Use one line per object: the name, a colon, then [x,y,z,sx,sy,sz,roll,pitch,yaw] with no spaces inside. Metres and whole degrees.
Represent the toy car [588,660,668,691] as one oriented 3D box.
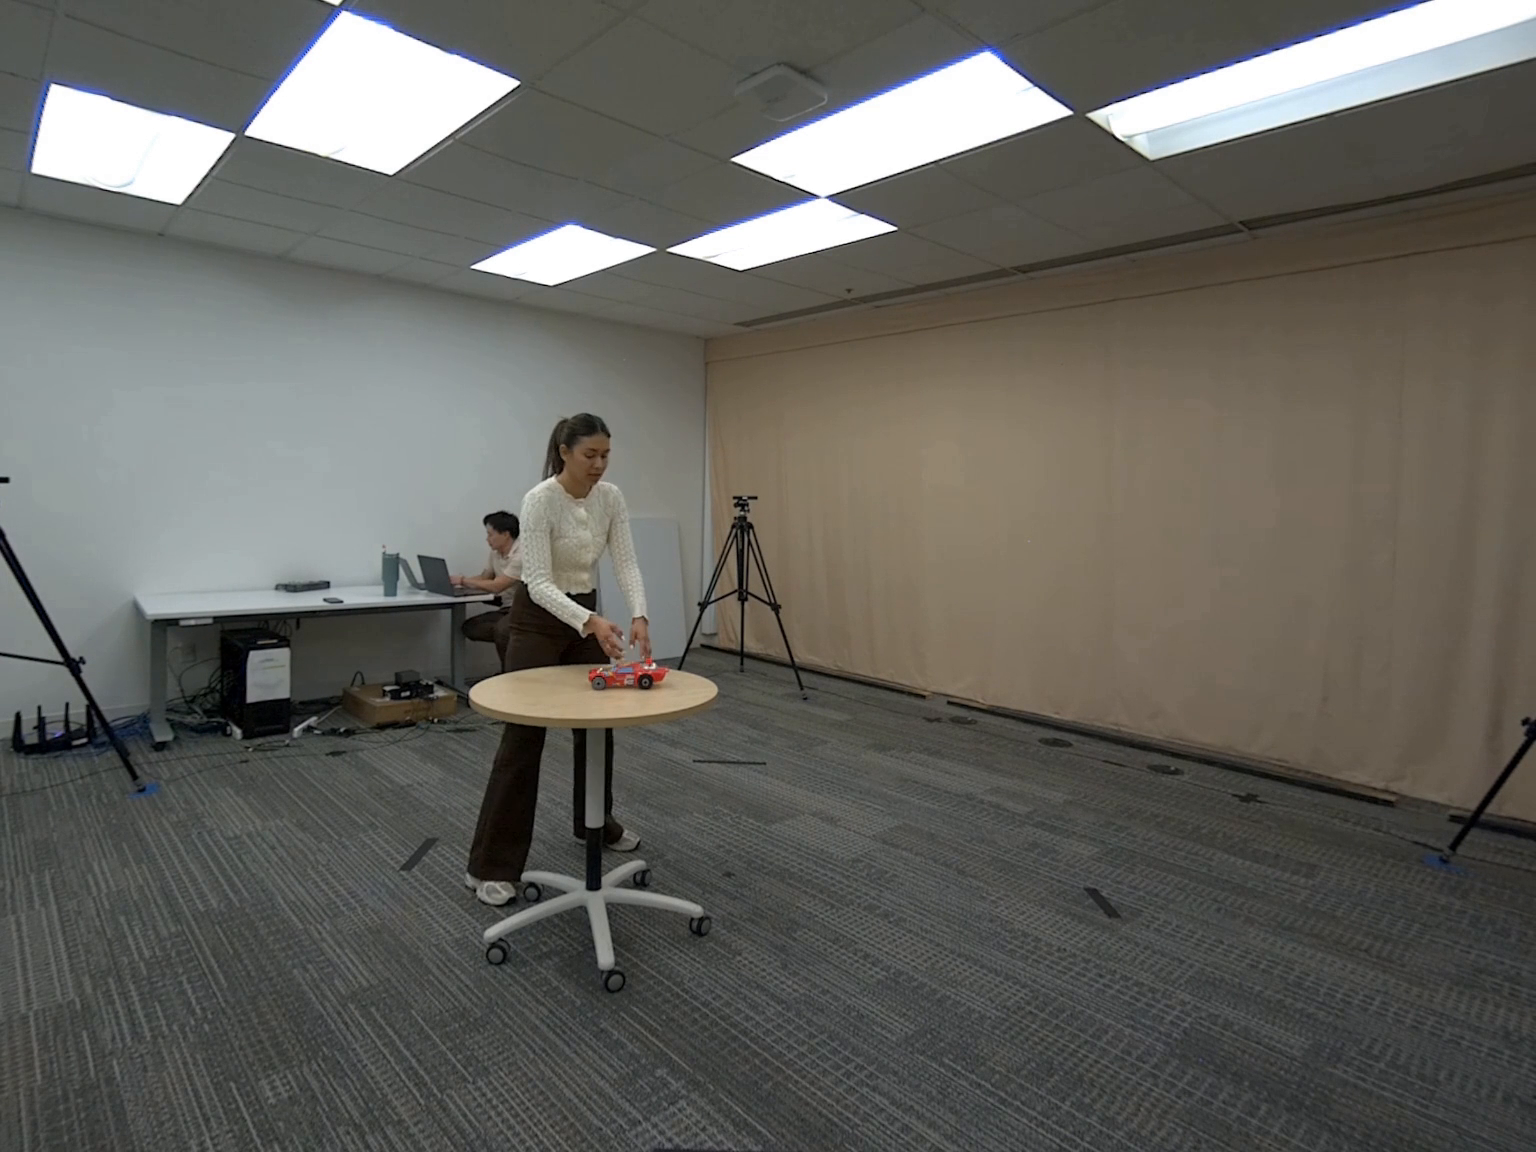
toy car: [-0.450,0.320,2.670,0.253,0.083,0.131,-10,5,-7]
